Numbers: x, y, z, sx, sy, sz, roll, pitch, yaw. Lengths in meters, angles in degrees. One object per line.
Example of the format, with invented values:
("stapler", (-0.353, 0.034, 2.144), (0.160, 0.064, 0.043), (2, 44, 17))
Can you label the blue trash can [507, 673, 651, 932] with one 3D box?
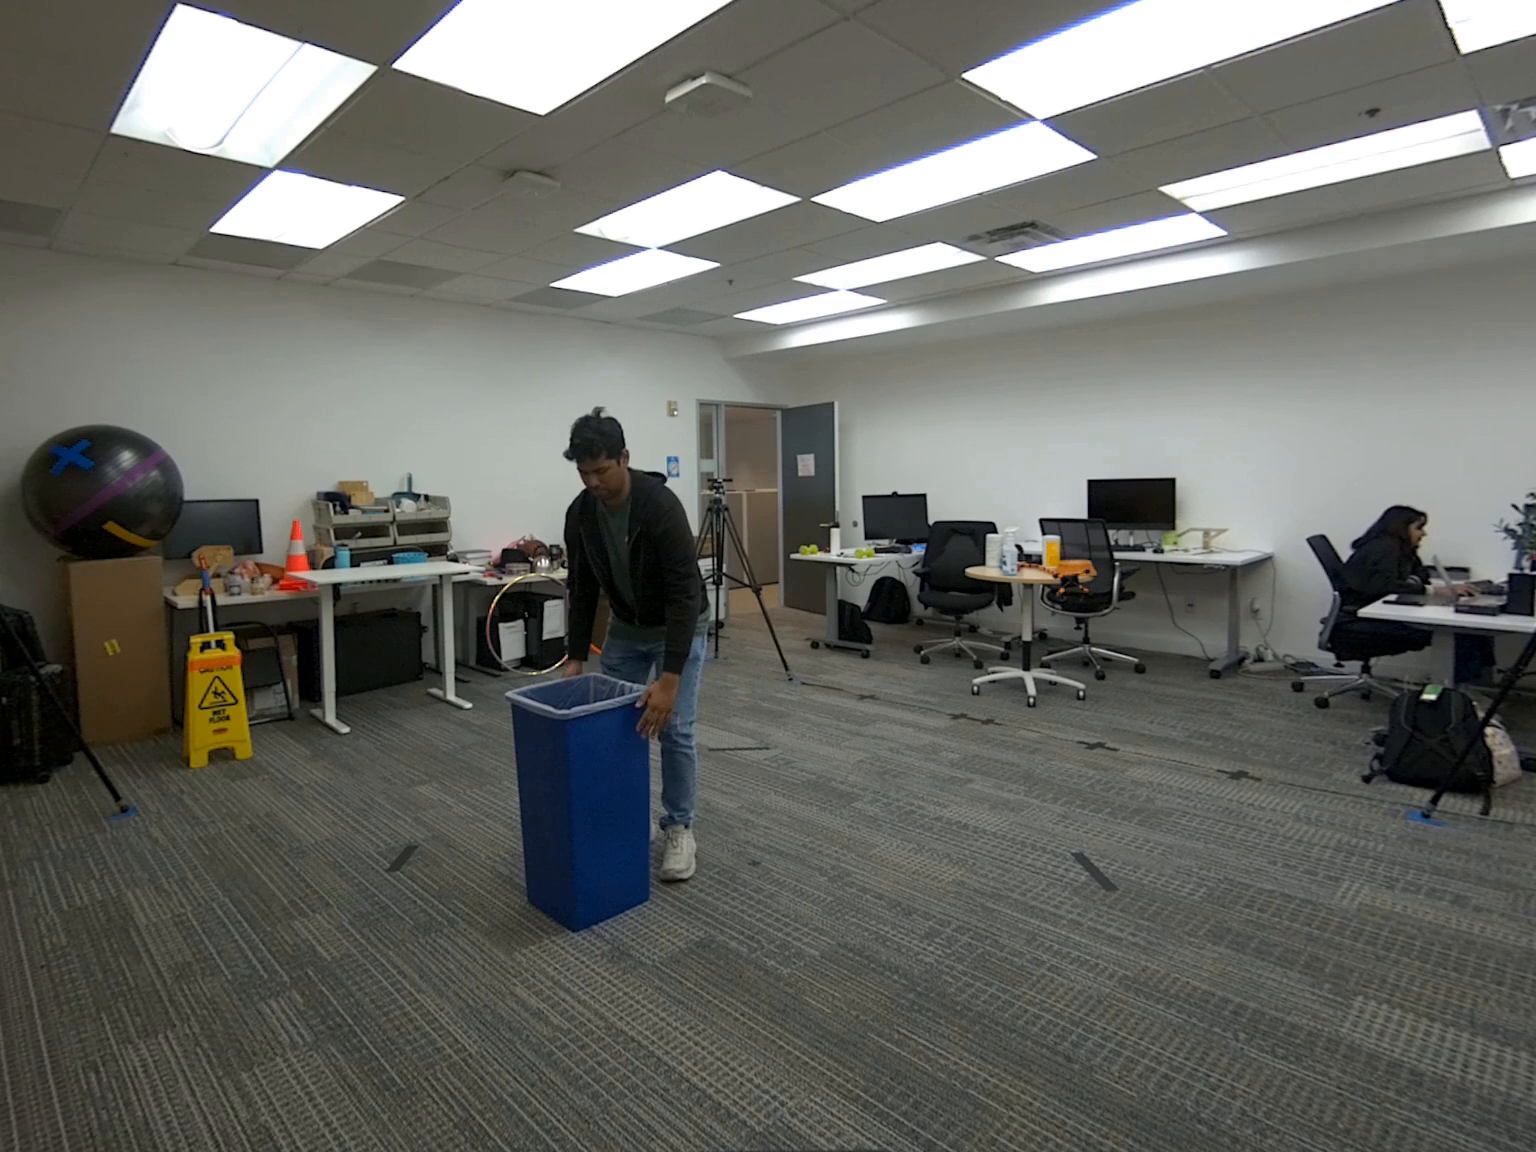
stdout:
("blue trash can", (-0.611, 0.733, 2.822), (0.389, 0.711, 0.364), (3, 6, 45))
